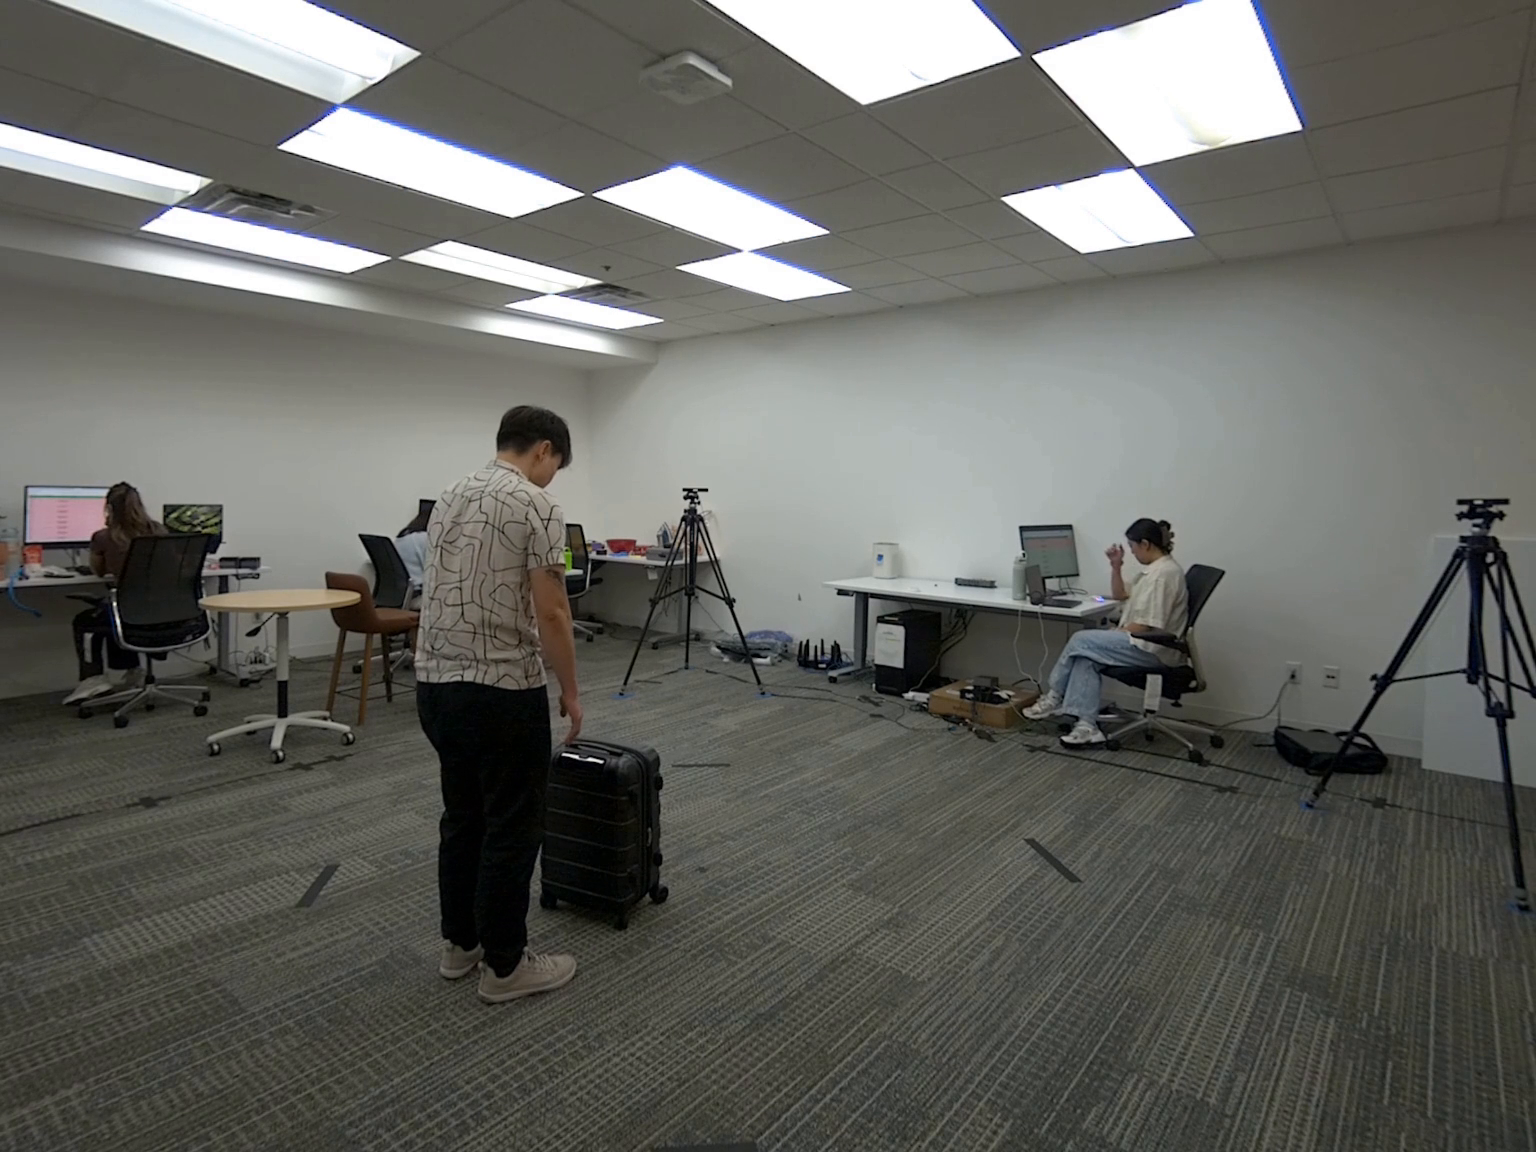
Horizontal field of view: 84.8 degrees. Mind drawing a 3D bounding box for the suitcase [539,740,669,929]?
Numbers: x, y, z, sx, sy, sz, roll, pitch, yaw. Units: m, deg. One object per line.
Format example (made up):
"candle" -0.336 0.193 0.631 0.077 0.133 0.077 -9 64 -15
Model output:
"suitcase" -0.561 0.818 2.810 0.385 0.547 0.243 2 4 26
